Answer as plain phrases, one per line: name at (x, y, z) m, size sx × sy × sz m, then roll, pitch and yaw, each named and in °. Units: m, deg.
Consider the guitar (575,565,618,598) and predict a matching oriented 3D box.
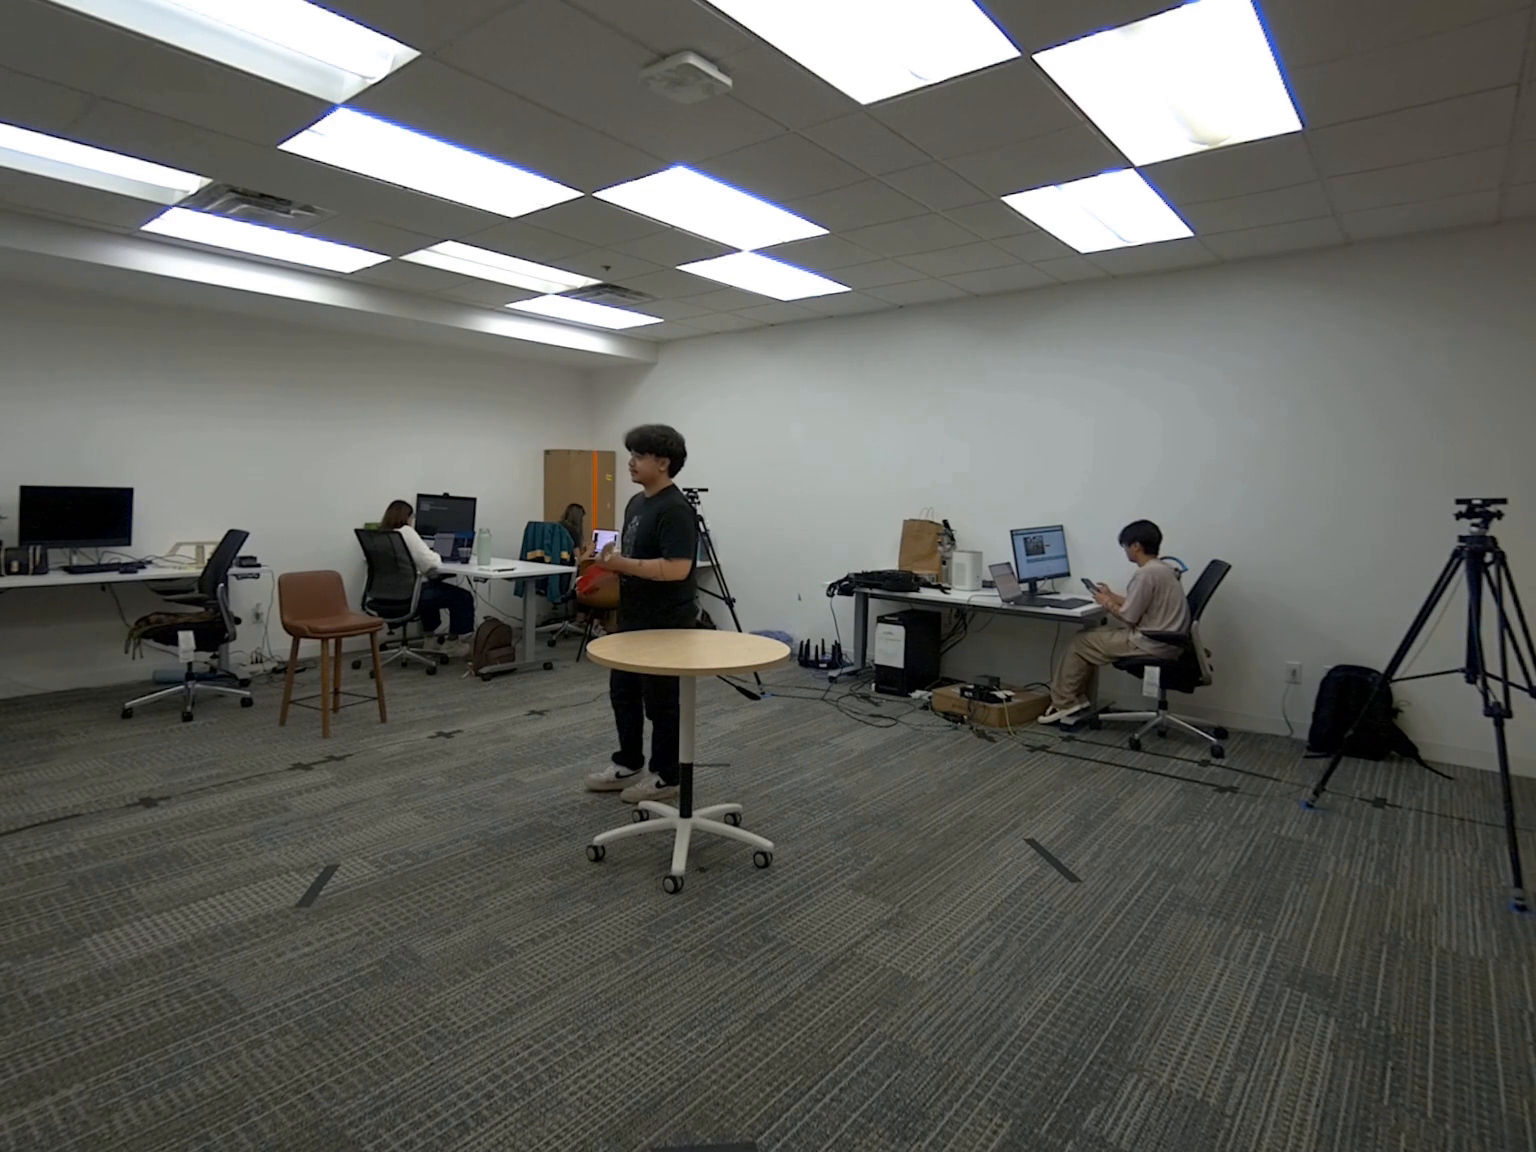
guitar at (-0.743, -0.036, 3.593) m, size 0.191 × 0.072 × 0.493 m, roll -21°, pitch -13°, yaw -17°
